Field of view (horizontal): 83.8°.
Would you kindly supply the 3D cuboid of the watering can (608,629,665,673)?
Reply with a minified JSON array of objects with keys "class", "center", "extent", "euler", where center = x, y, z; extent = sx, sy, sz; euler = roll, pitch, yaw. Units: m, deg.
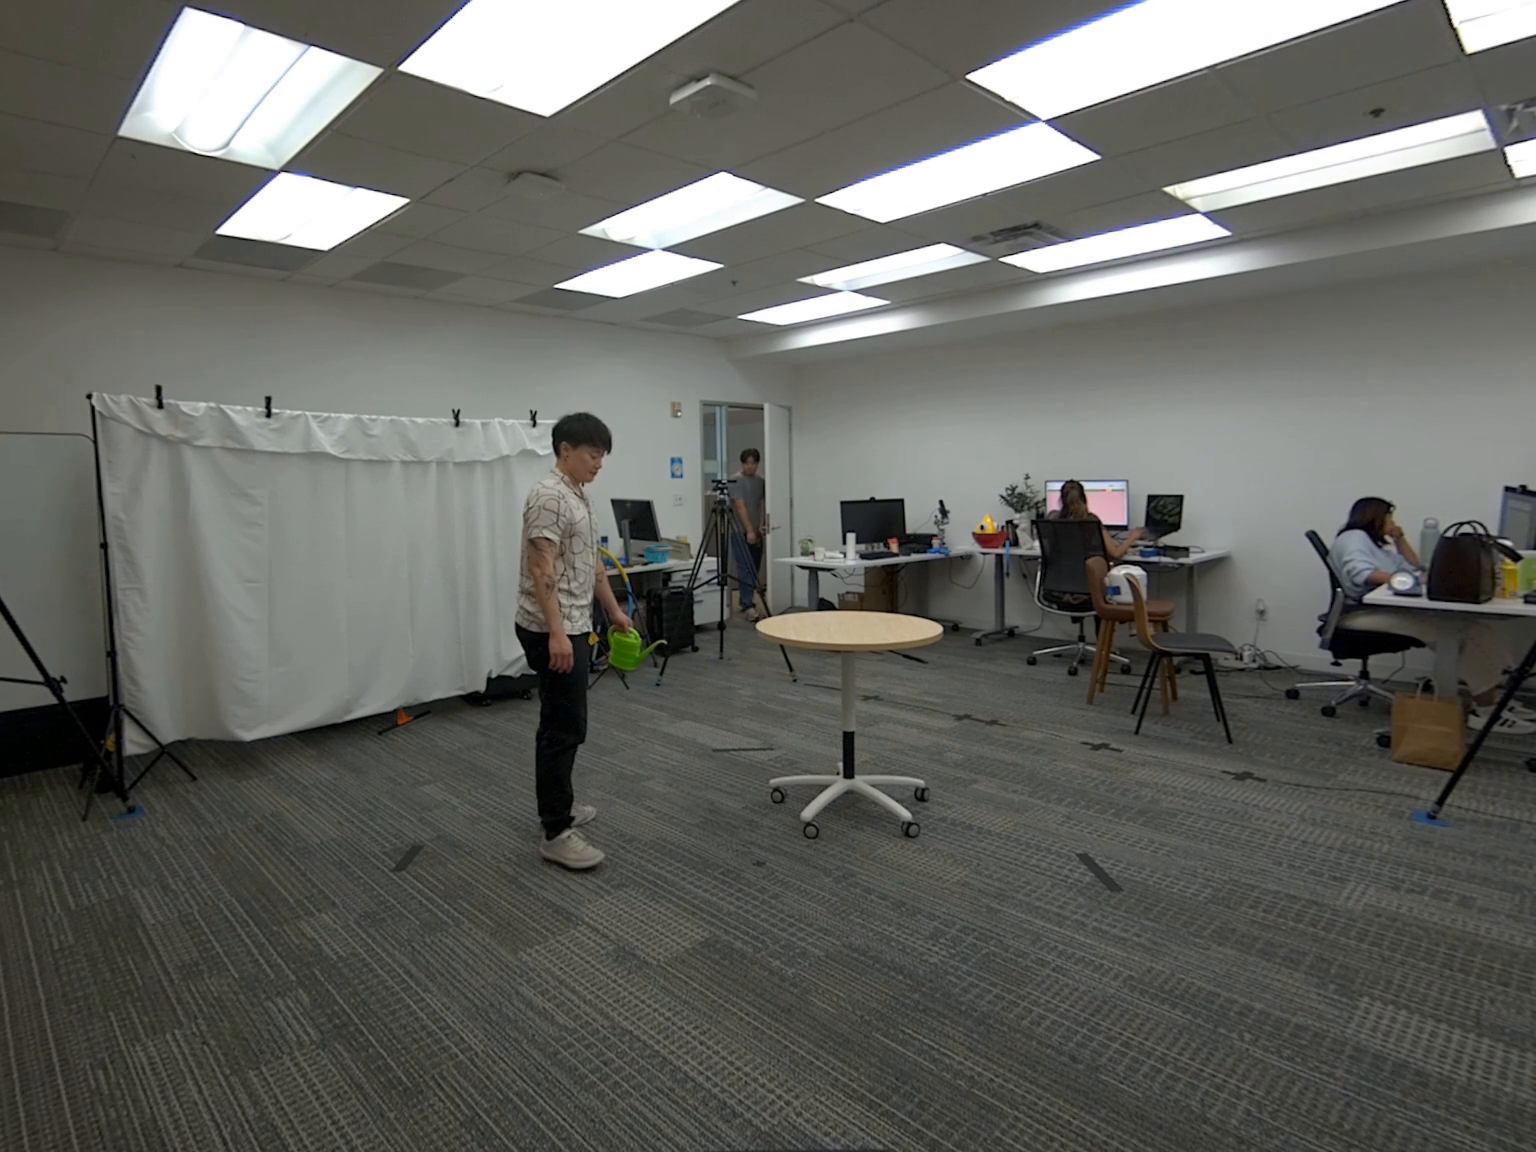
[{"class":"watering can","center":[-0.583,0.314,3.616],"extent":[0.288,0.175,0.095],"euler":[23,20,36]}]
